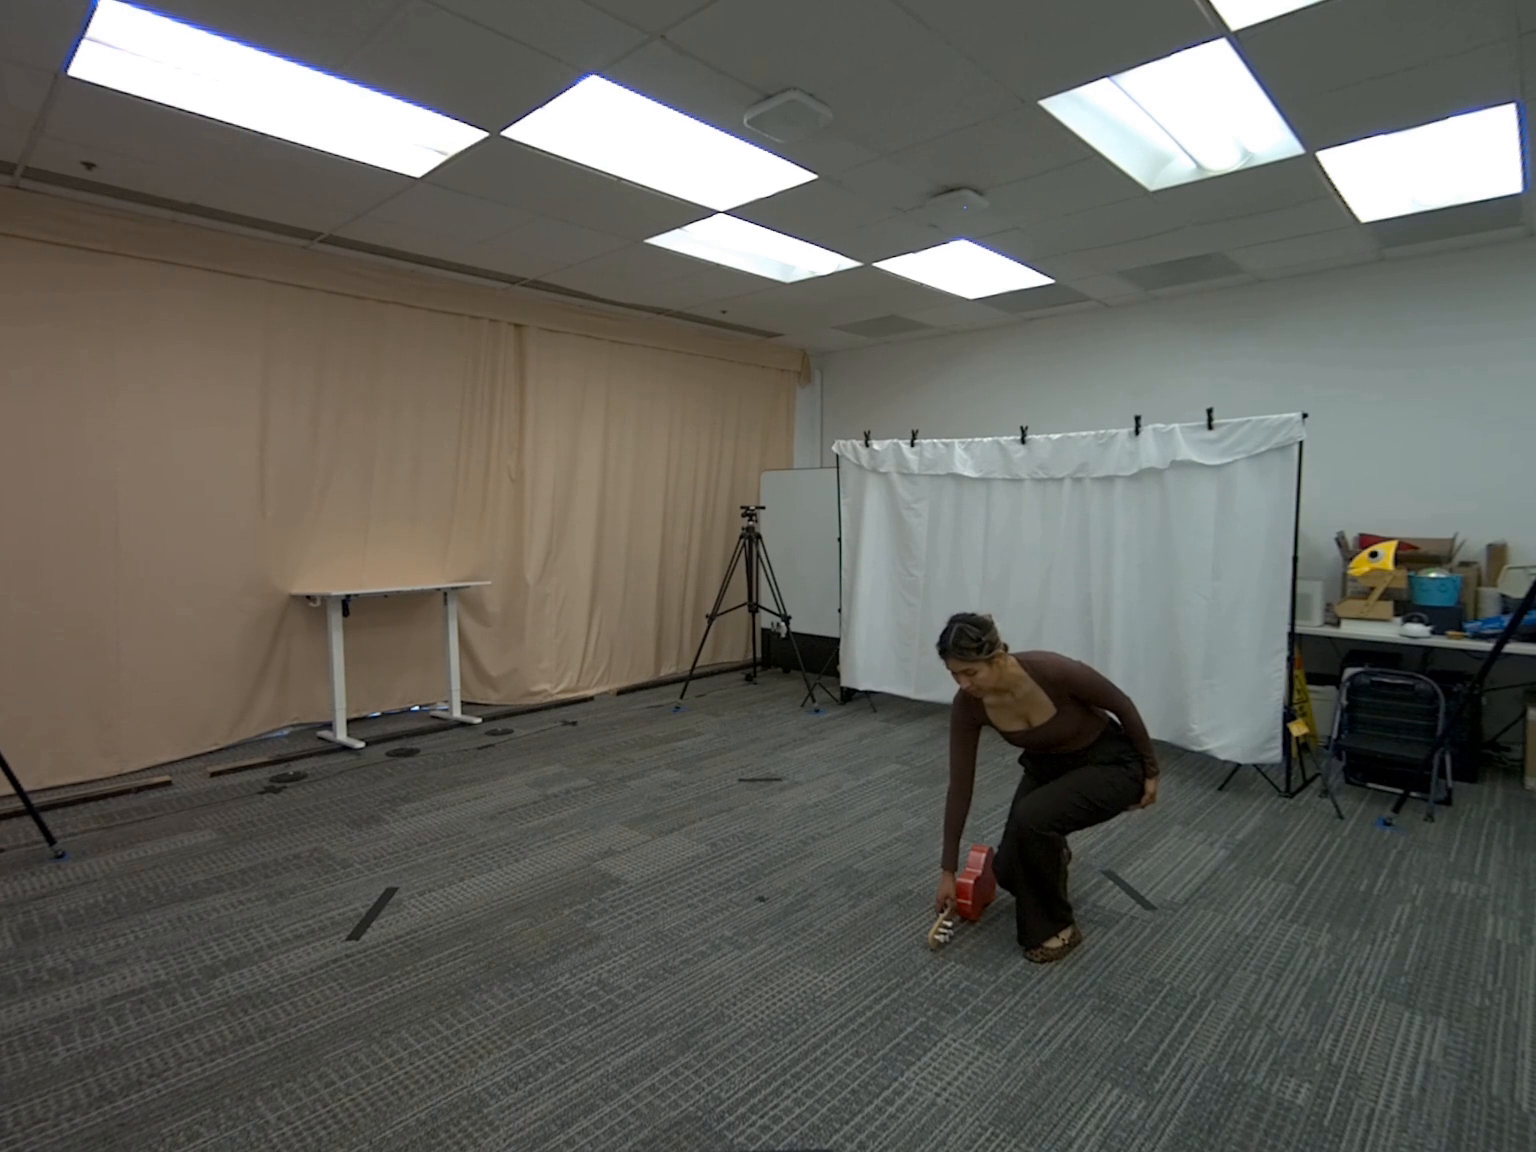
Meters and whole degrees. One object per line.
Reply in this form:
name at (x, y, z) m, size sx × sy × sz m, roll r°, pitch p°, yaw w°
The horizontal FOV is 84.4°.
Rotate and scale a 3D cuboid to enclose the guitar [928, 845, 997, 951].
guitar at (0.670, 1.117, 2.815) m, size 0.073 × 0.190 × 0.490 m, roll -1°, pitch 22°, yaw 33°
